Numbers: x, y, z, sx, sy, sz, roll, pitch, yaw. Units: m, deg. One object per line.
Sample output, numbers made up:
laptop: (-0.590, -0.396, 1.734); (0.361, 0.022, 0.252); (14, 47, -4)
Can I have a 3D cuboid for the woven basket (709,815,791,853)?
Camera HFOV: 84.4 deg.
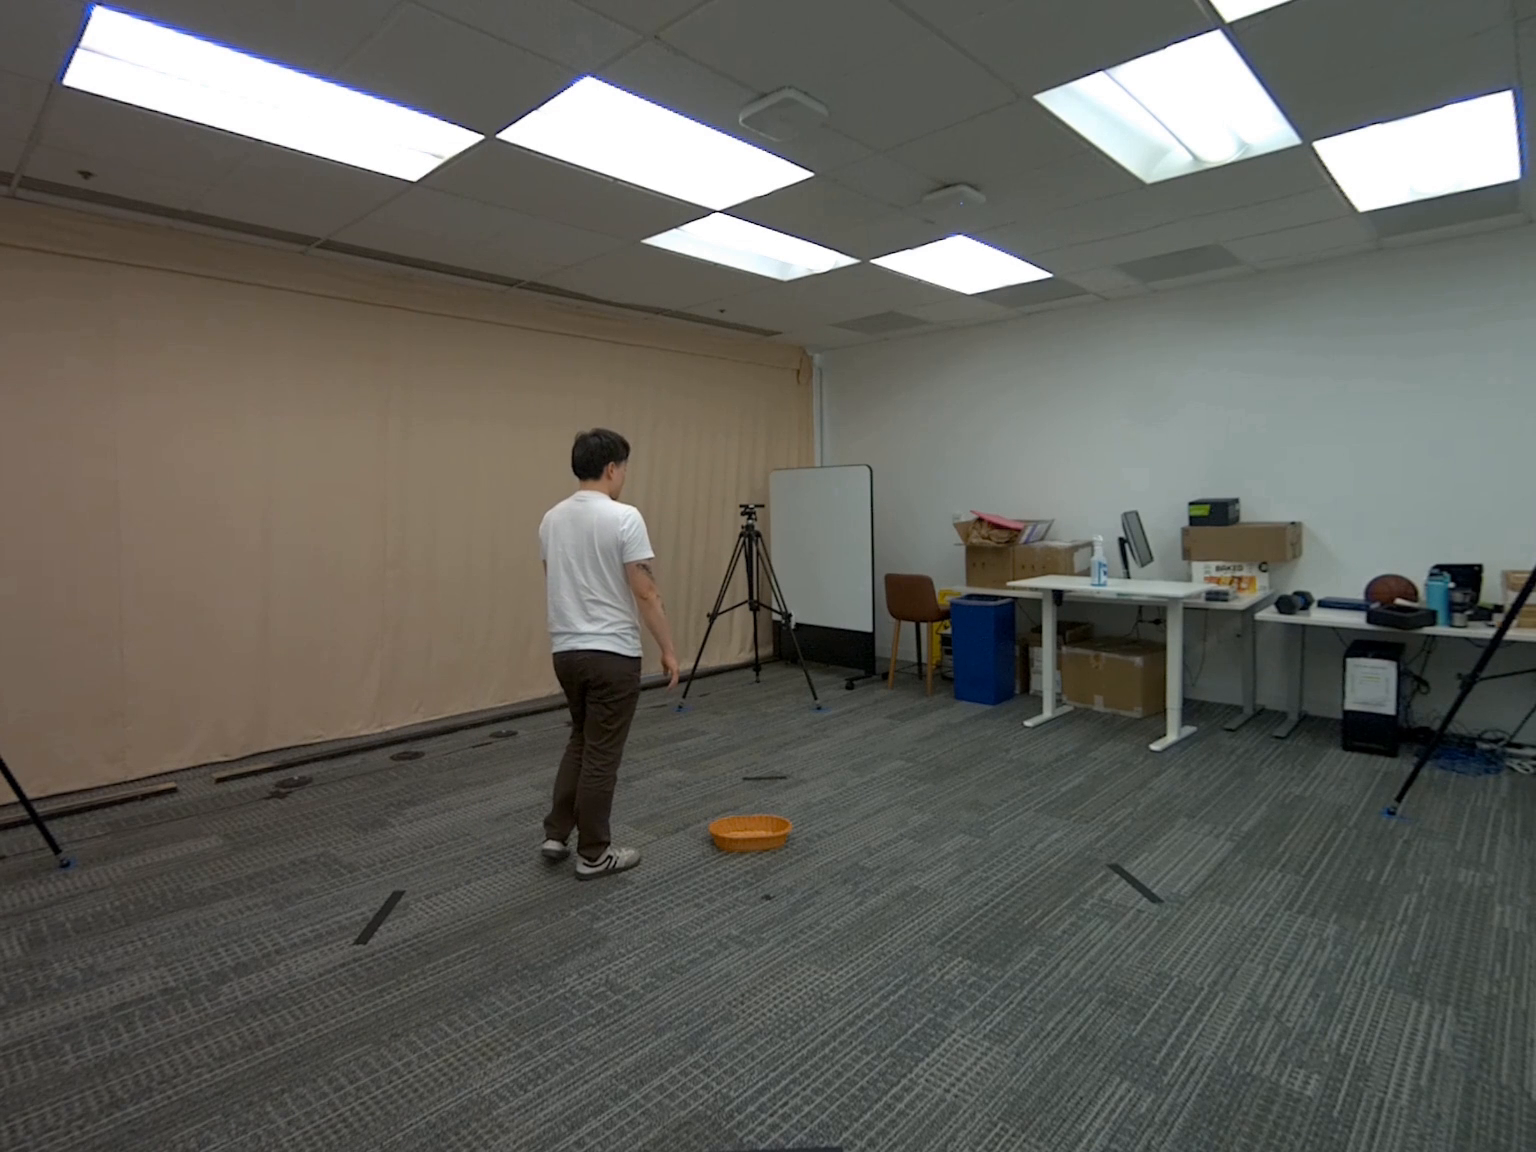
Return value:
woven basket: (-0.074, 1.059, 3.467); (0.348, 0.073, 0.254); (-2, 4, -7)
